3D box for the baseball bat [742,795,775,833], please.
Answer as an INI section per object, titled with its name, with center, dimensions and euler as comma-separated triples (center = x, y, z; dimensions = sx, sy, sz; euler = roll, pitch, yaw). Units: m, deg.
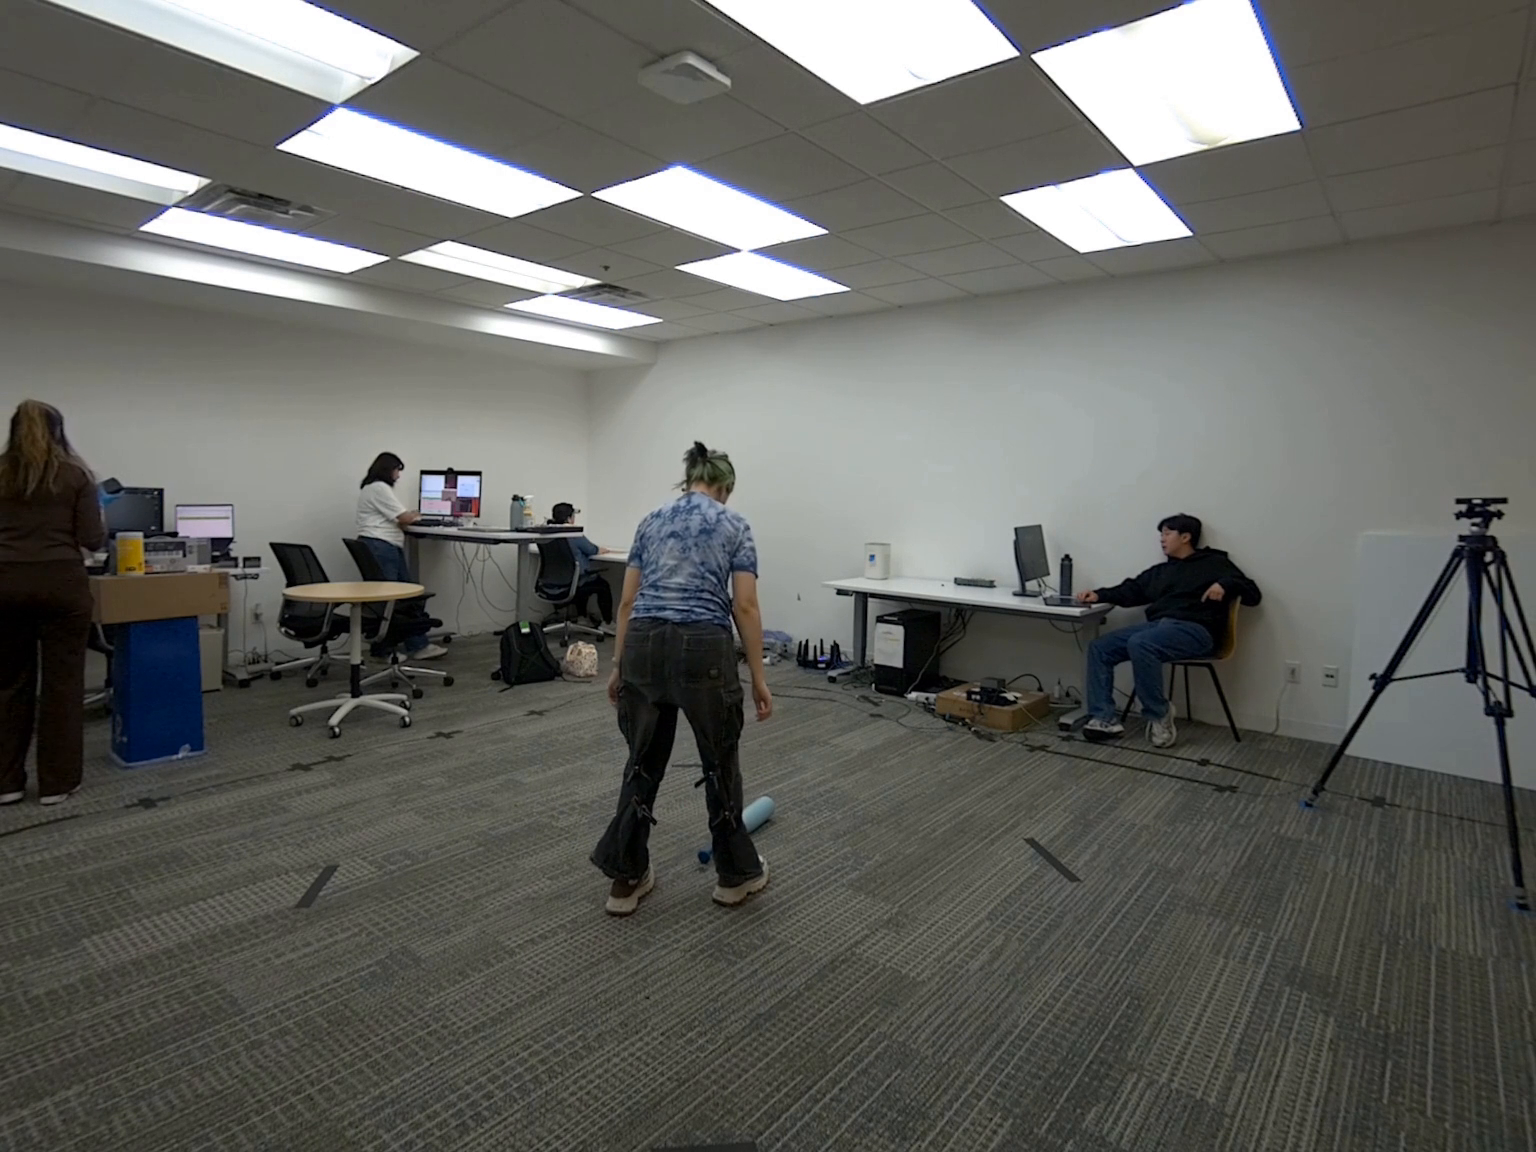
[baseball bat]
center = -0.134, 1.010, 3.381
dimensions = 0.091, 0.088, 0.531
euler = 3, 8, 27
